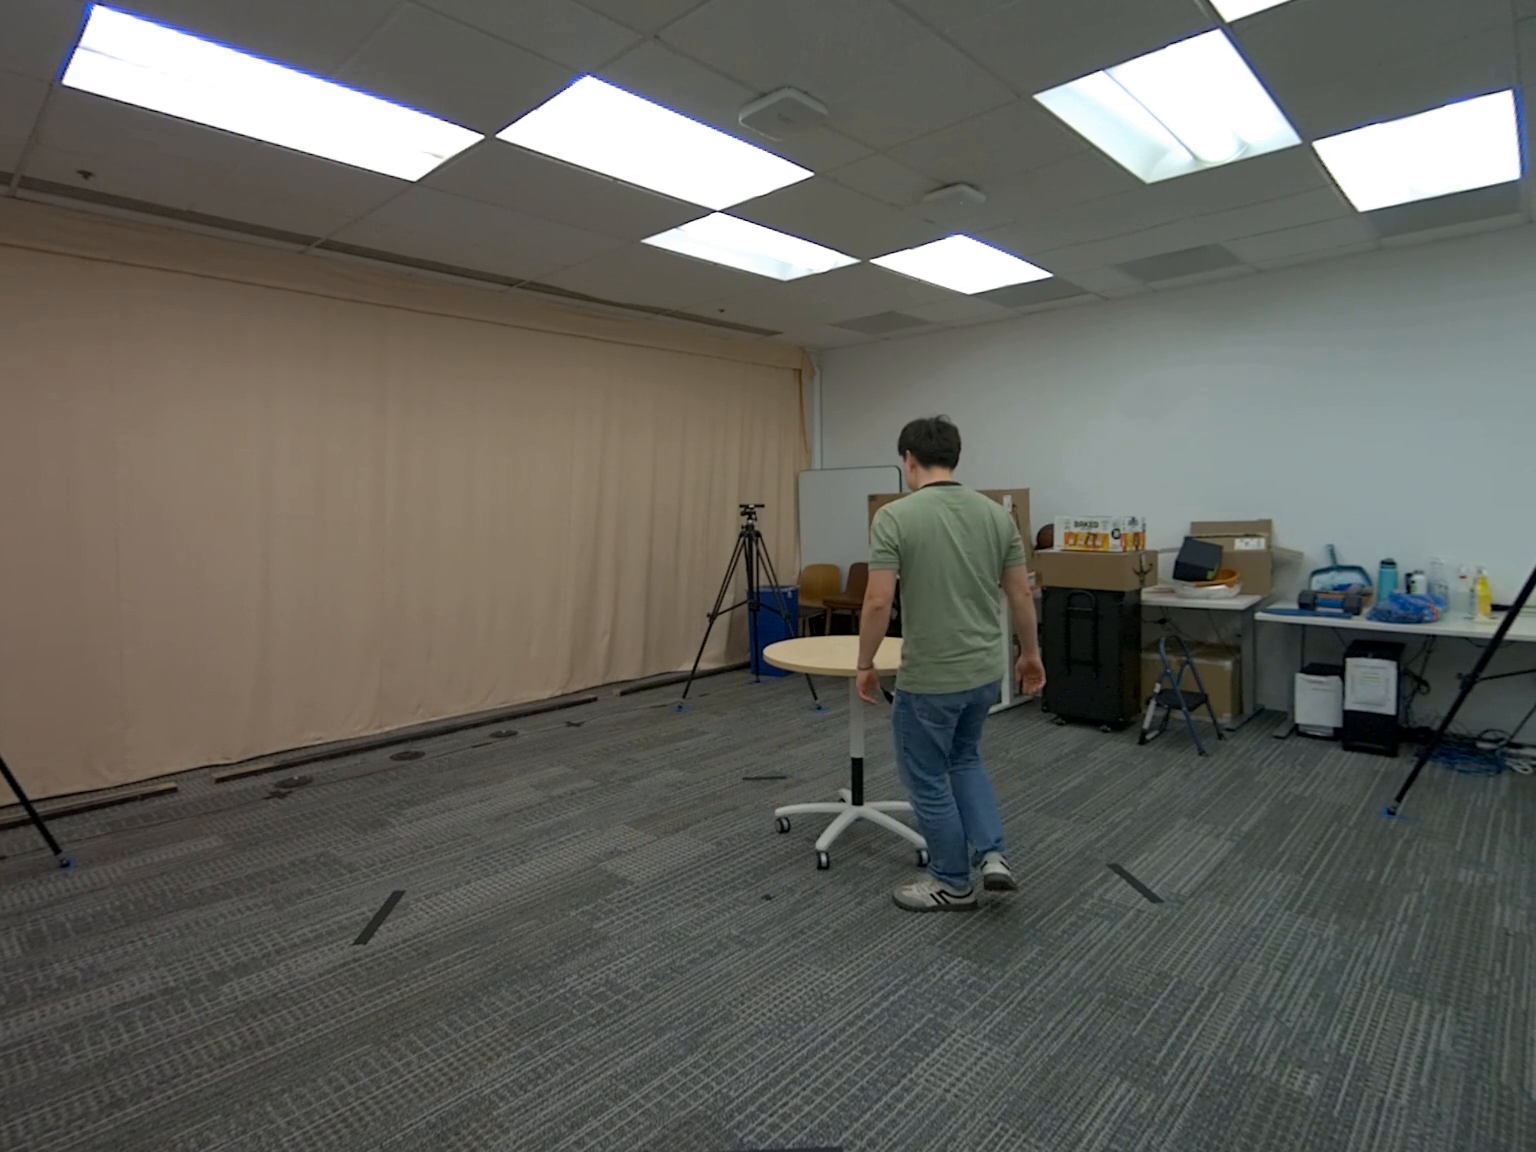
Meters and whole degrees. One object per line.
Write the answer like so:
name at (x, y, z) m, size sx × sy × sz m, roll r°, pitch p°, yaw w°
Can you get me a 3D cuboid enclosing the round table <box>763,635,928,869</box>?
round table at (0.368, 0.702, 3.485) m, size 0.763 × 0.792 × 0.767 m, roll -1°, pitch 4°, yaw -2°
